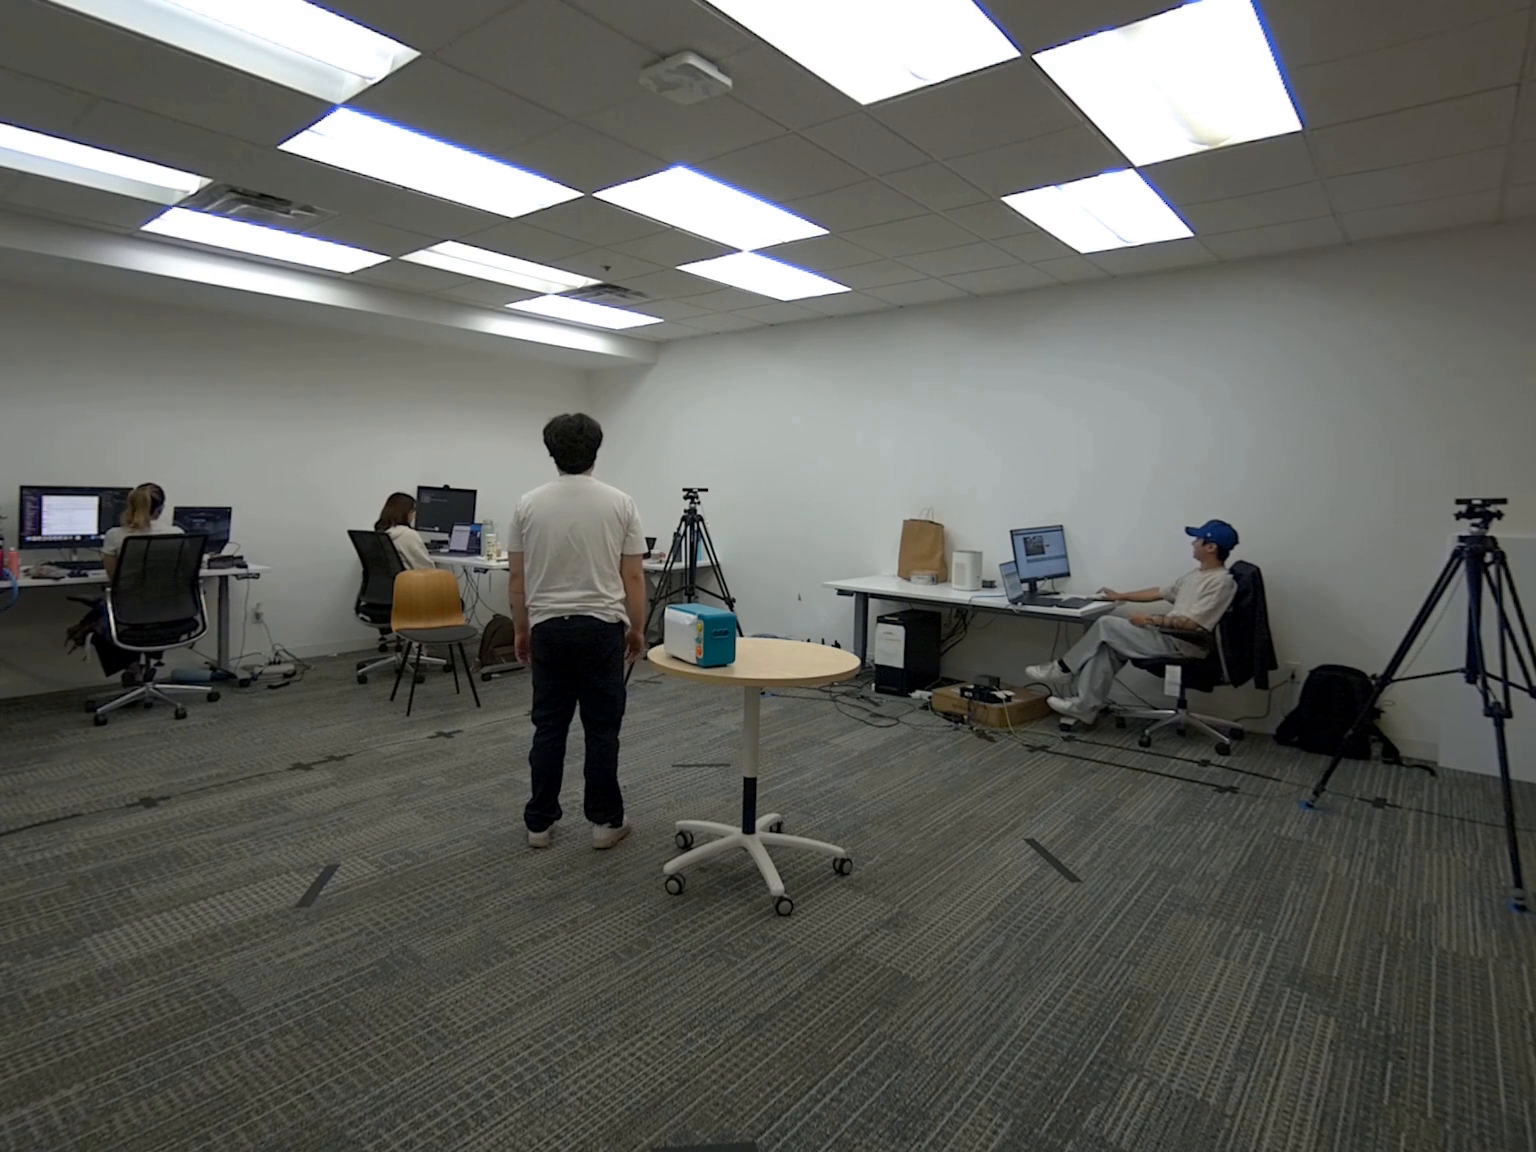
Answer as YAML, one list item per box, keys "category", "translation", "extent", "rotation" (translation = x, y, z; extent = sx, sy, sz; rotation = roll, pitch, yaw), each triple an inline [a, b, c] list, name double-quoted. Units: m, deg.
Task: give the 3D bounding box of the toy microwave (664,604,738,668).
- category: "toy microwave"
  translation: [-0.256, 0.200, 2.943]
  extent: [0.148, 0.183, 0.295]
  rotation: [-1, 5, -35]
